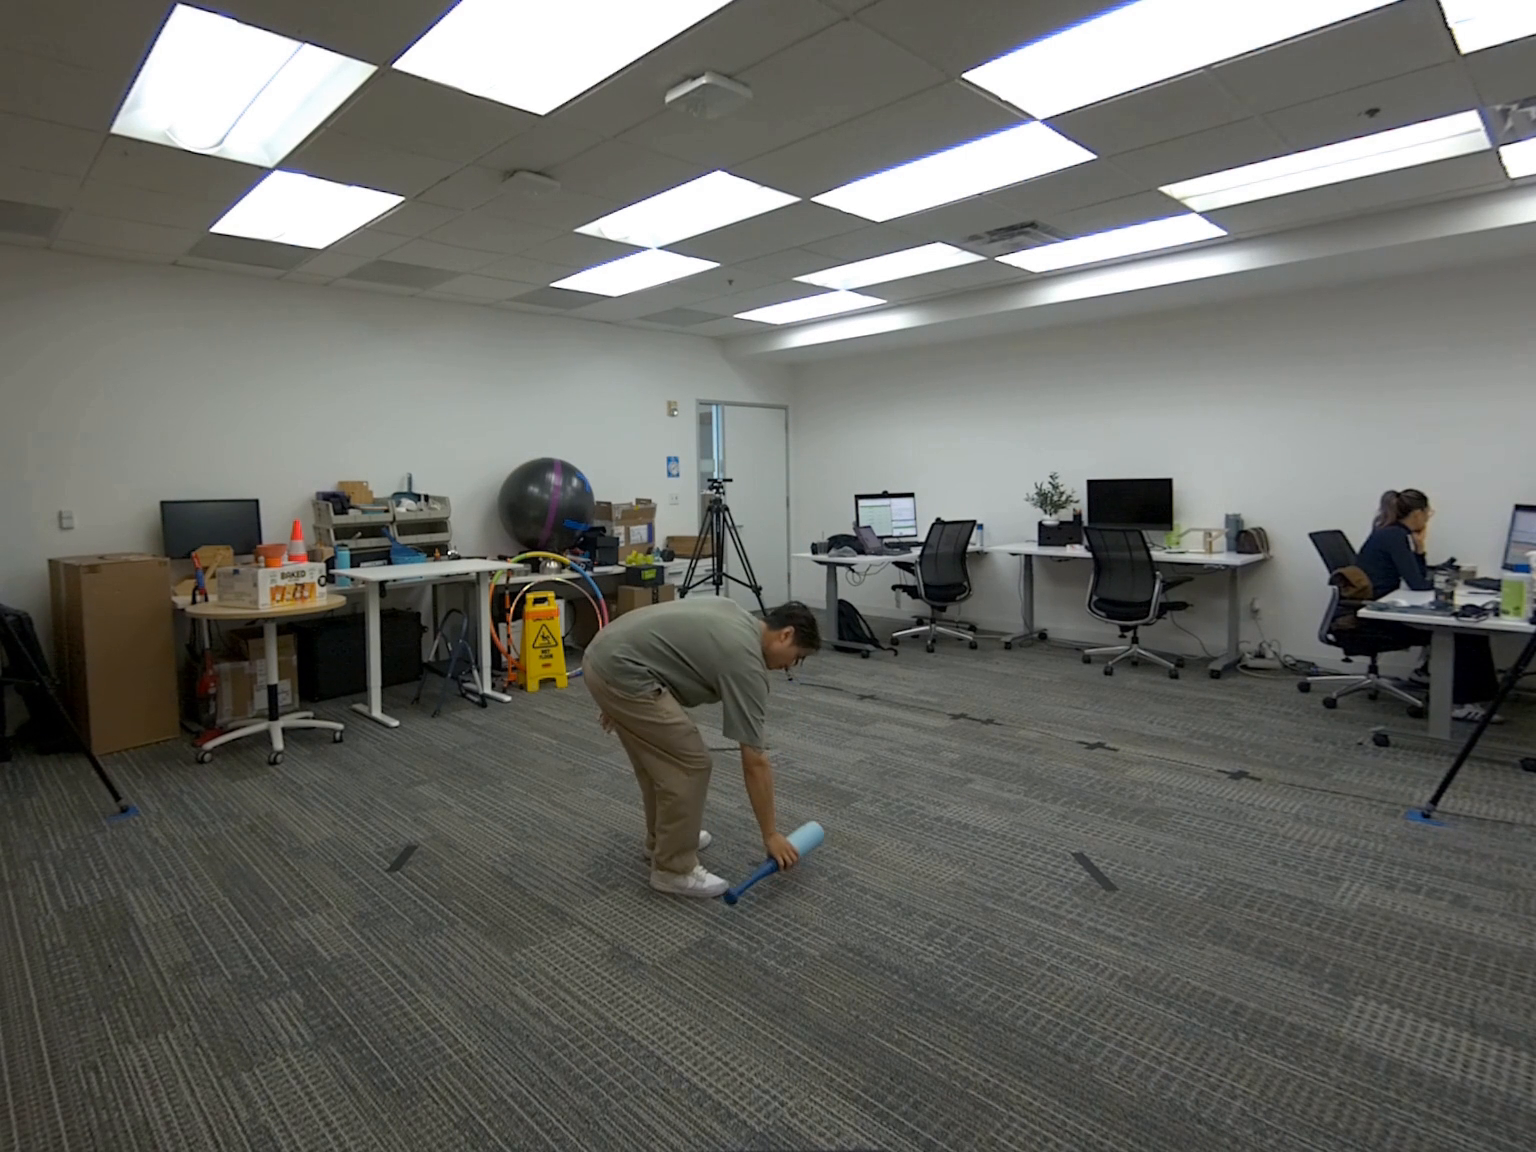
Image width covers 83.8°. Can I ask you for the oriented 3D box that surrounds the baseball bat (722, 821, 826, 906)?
[{"bbox_3d":[0.019,0.944,2.872,0.091,0.088,0.532,2,11,32],"label":"baseball bat"}]
